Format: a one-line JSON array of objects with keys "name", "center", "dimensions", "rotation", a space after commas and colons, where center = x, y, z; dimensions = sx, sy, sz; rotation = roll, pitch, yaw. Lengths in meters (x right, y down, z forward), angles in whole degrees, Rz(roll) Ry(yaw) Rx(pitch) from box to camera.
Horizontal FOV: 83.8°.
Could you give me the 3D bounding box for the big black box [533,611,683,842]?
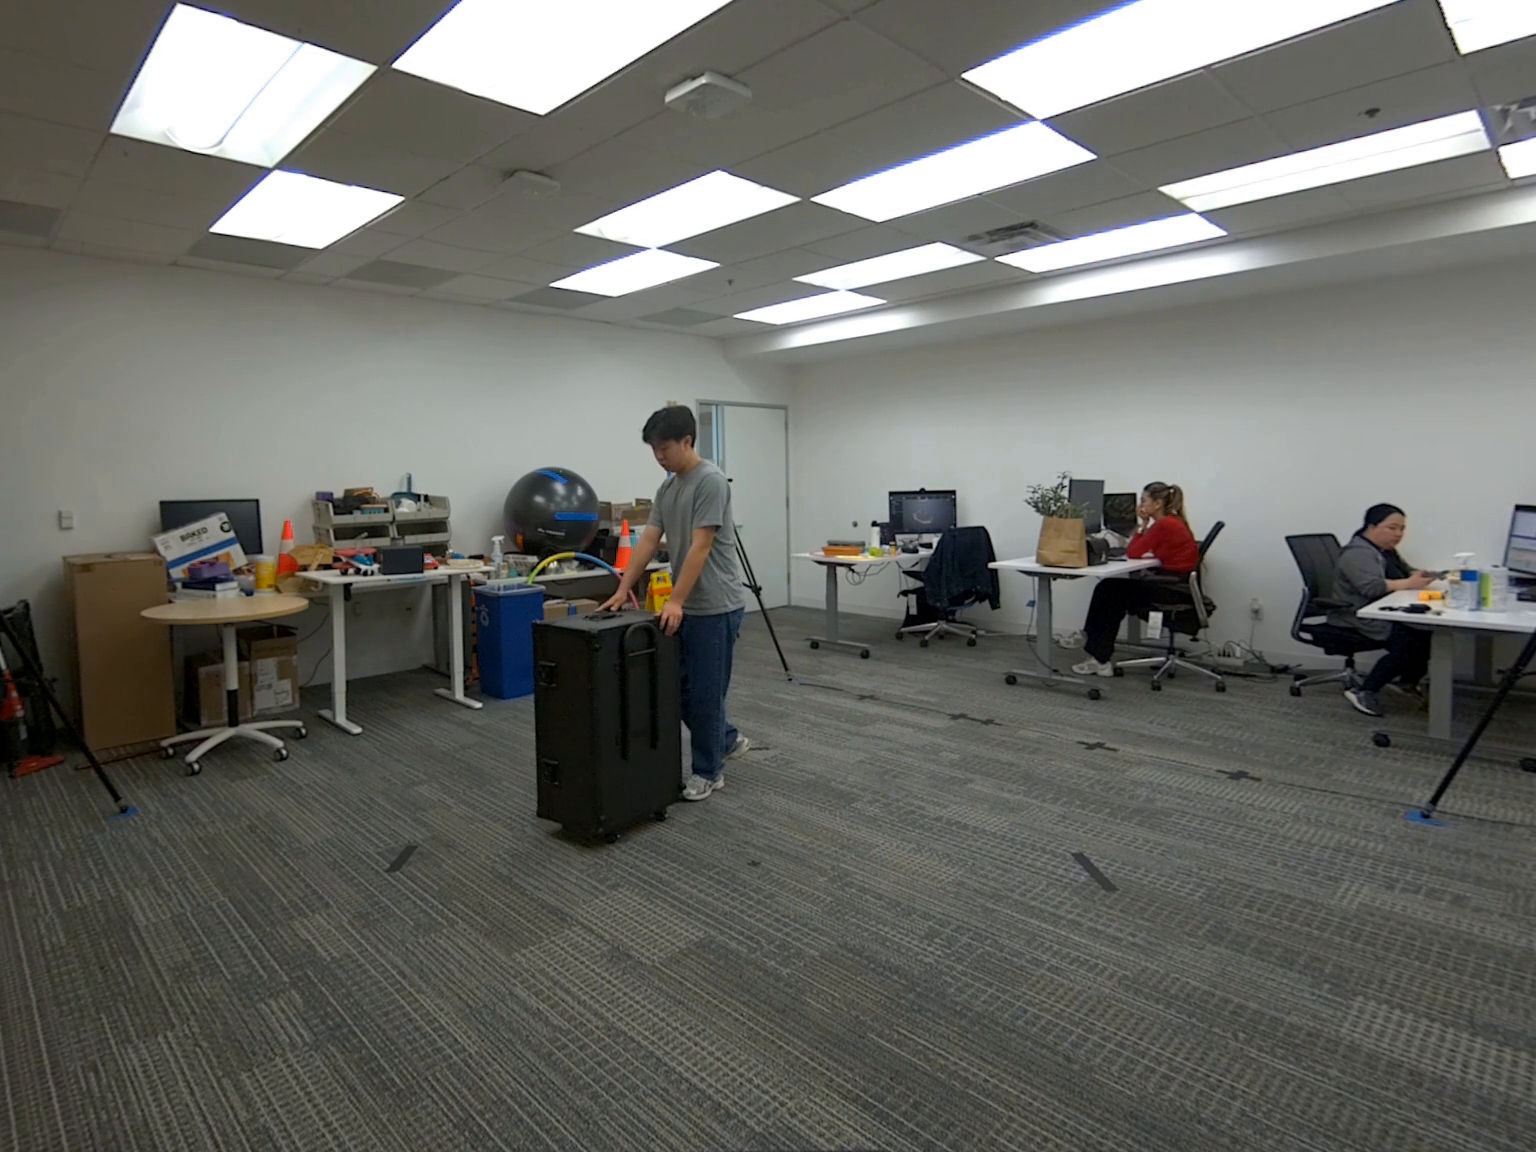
[{"name": "big black box", "center": [-0.634, 0.594, 3.447], "dimensions": [0.408, 0.858, 0.508], "rotation": [3, 6, 37]}]
